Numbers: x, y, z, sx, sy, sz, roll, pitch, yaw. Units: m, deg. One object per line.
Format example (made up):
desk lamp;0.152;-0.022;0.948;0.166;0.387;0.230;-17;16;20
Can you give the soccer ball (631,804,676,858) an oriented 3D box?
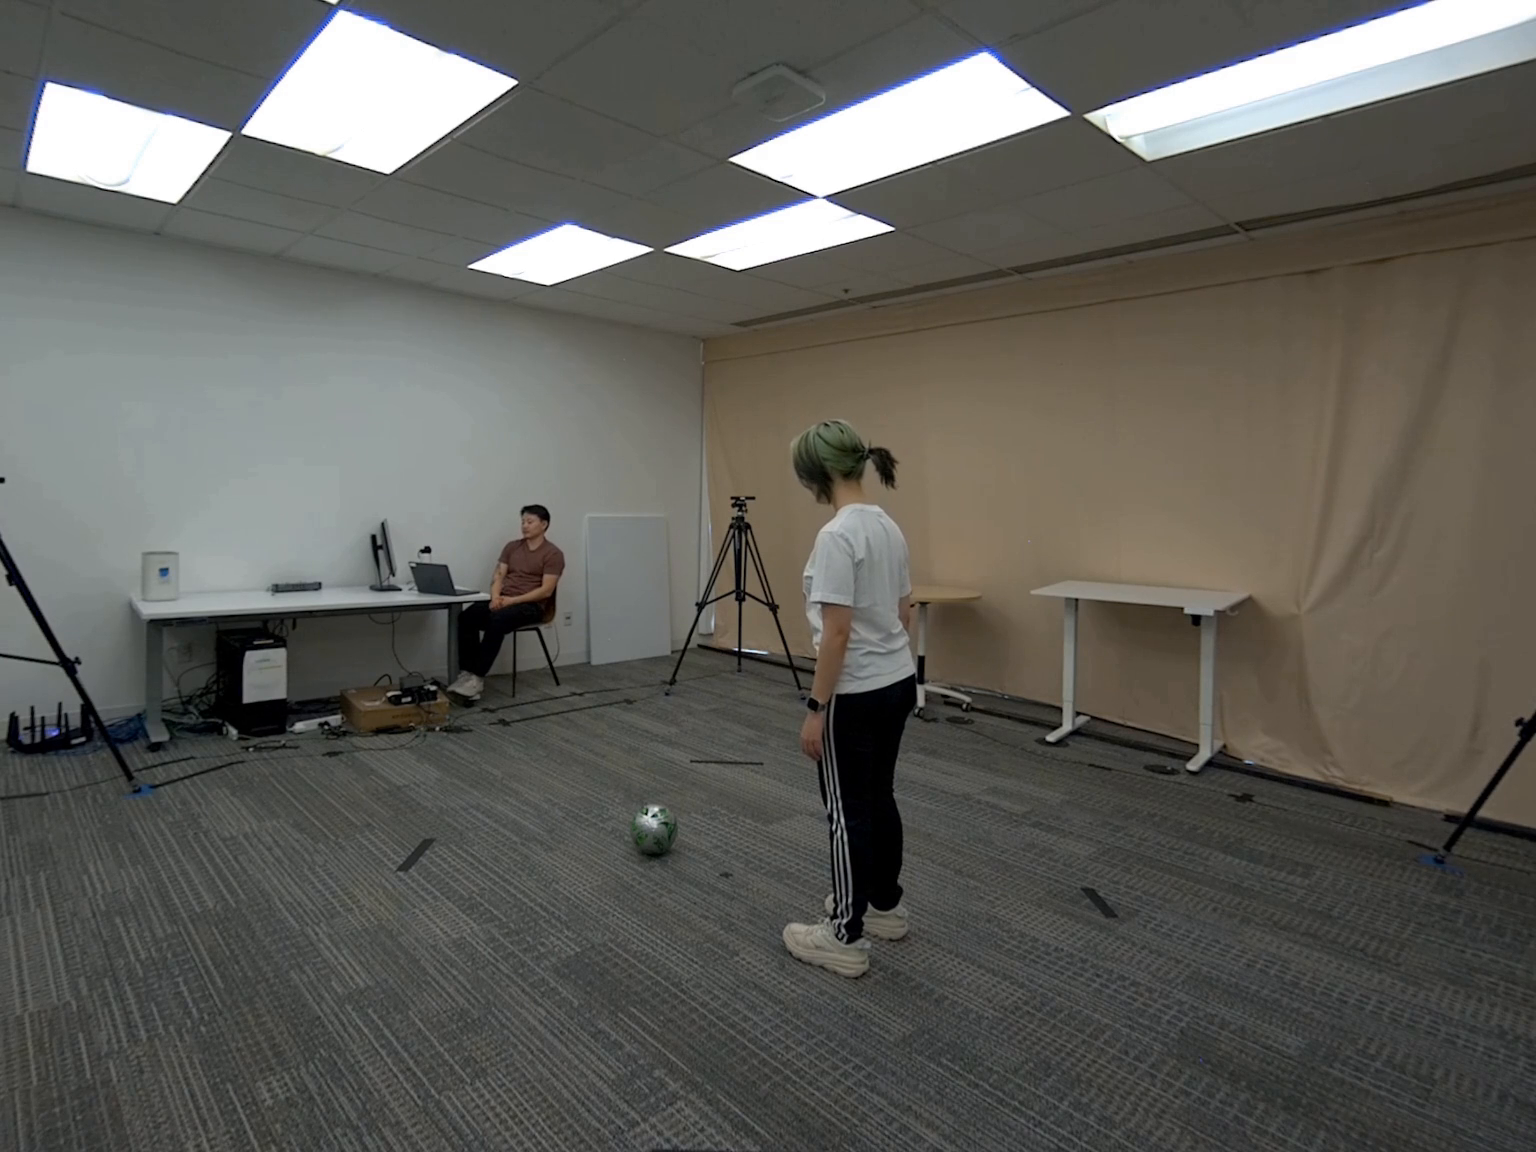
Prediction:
soccer ball;-0.449;0.987;3.284;0.187;0.187;0.188;1;4;-1
